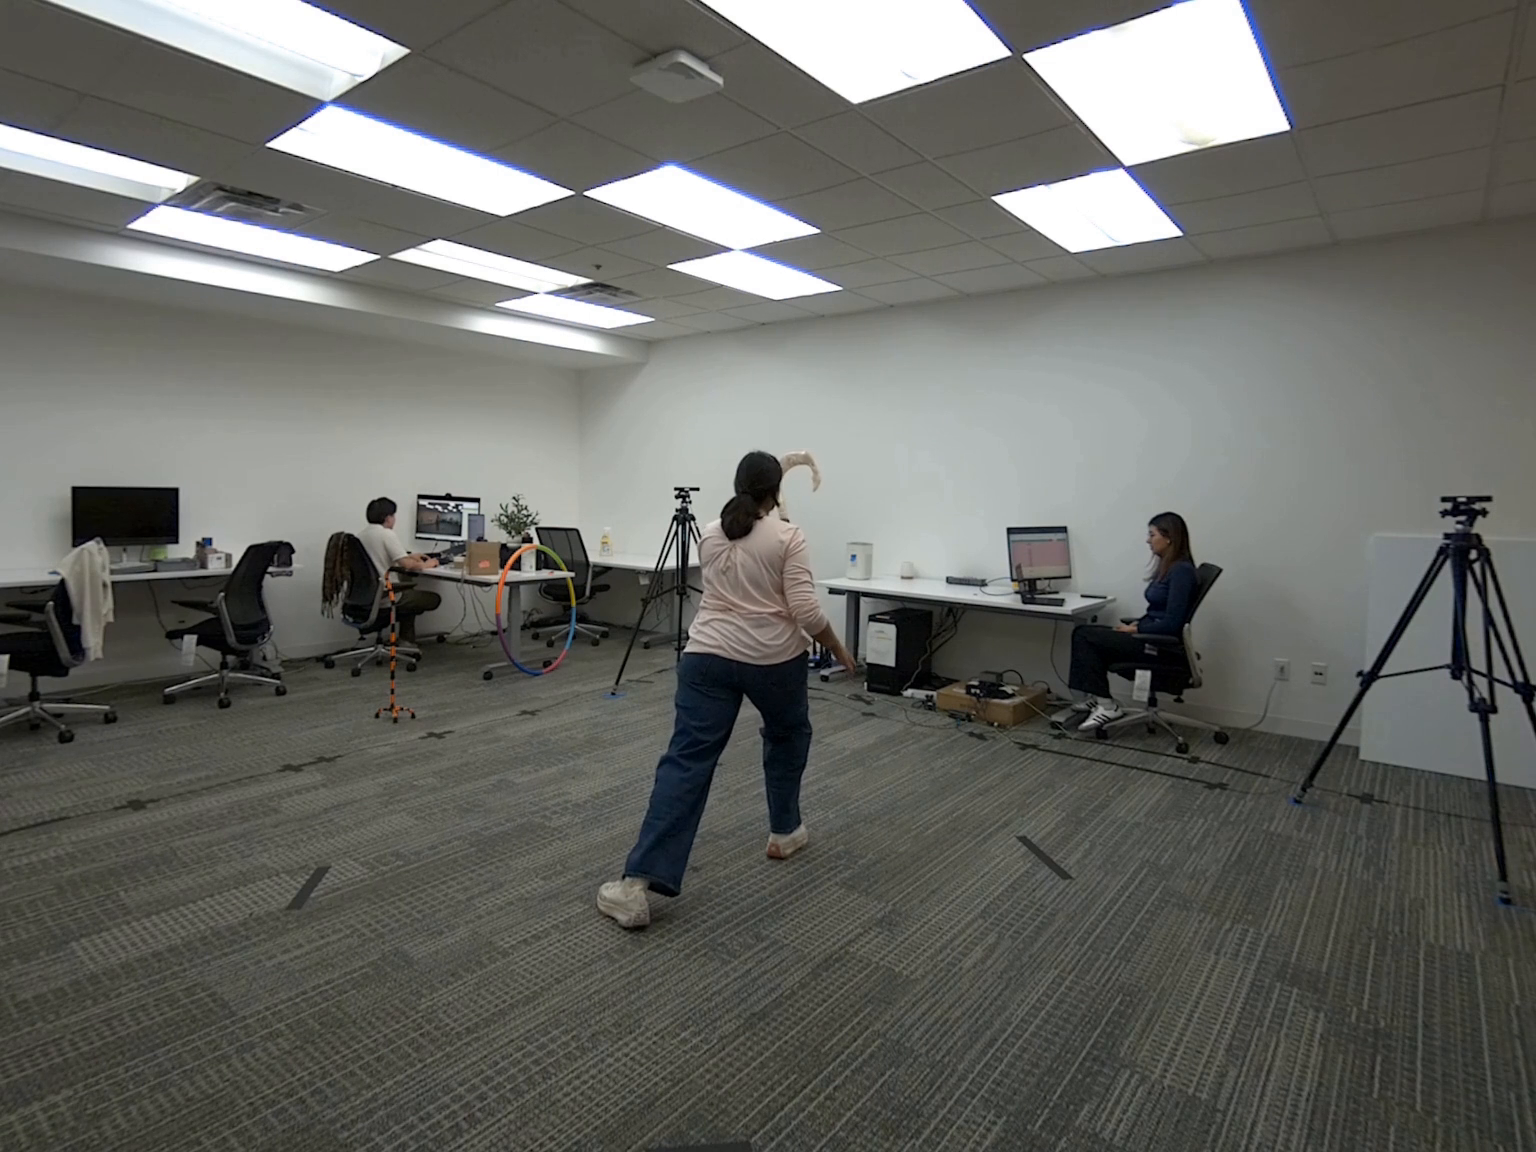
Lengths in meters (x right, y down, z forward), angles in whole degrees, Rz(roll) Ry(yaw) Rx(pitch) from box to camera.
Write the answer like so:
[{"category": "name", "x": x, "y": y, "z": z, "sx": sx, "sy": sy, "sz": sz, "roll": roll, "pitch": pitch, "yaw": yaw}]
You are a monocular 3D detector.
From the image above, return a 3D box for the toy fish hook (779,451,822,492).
[{"category": "toy fish hook", "x": 0.103, "y": -0.294, "z": 3.585, "sx": 0.230, "sy": 0.515, "sz": 0.046, "roll": -9, "pitch": -20, "yaw": 29}]
